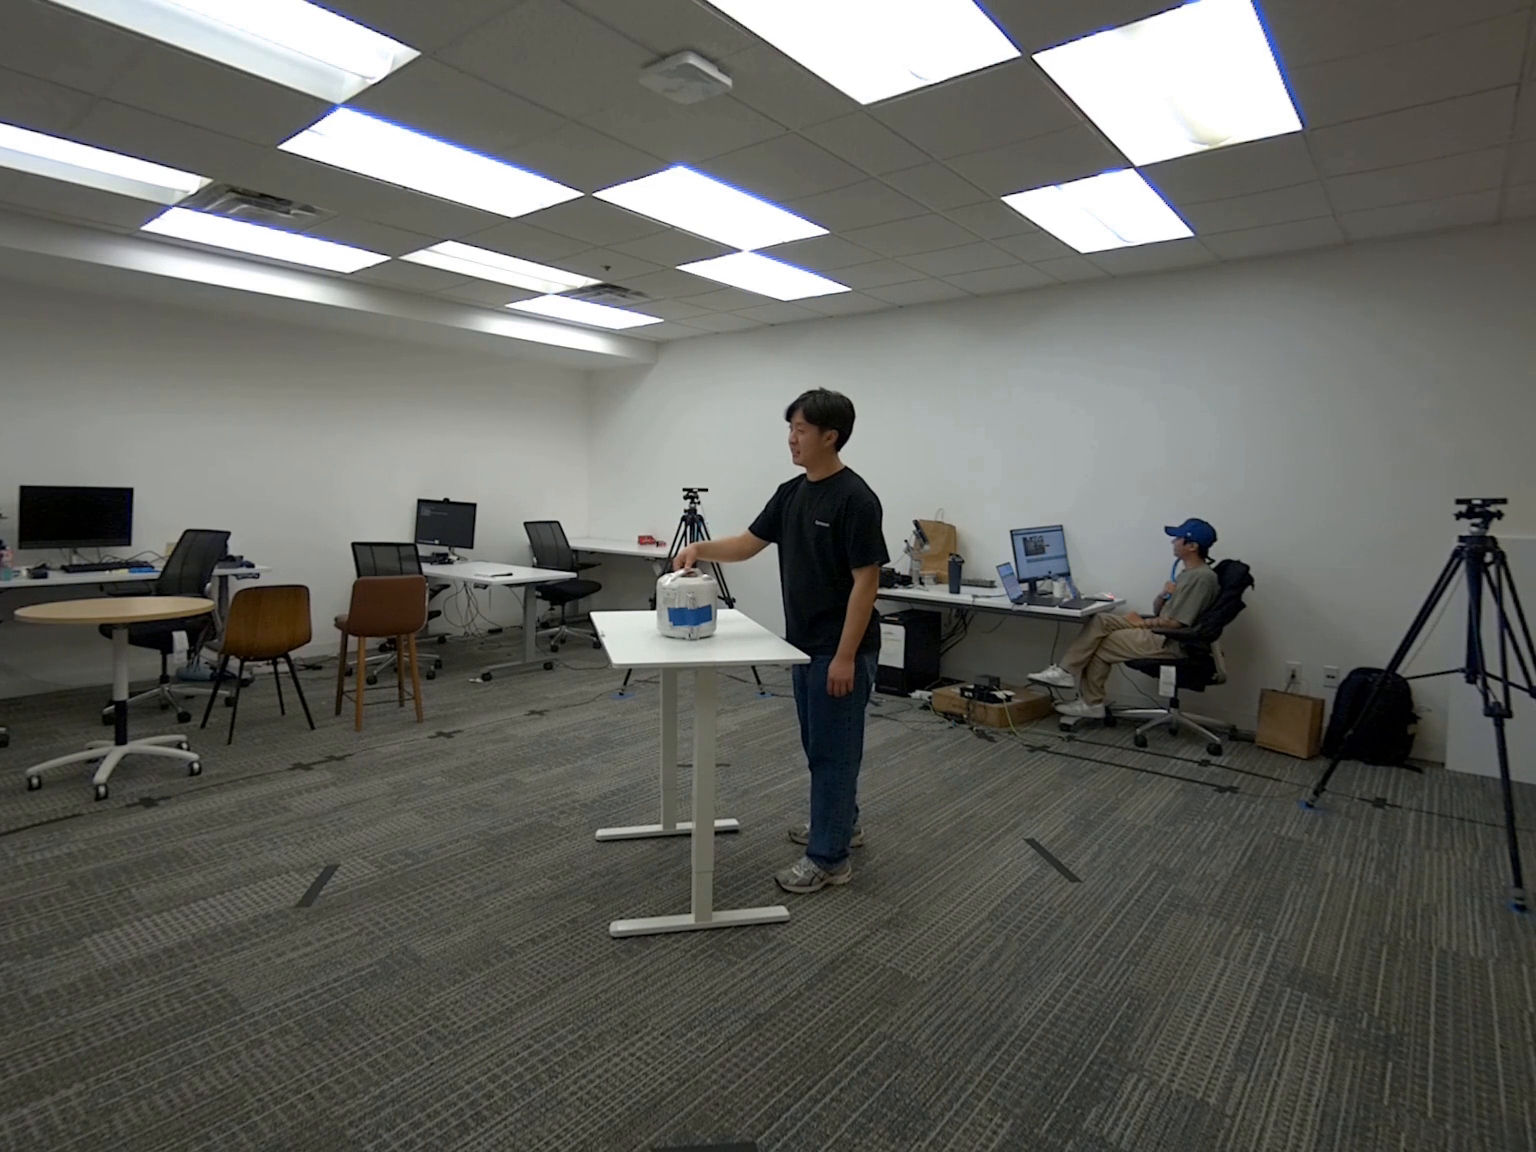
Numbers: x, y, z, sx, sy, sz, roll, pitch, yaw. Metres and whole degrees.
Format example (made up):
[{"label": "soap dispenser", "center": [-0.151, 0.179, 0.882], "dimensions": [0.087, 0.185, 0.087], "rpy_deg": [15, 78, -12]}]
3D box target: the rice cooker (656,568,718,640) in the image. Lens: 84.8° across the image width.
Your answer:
[{"label": "rice cooker", "center": [-0.290, 0.085, 2.942], "dimensions": [0.224, 0.232, 0.215], "rpy_deg": [5, 6, 30]}]
